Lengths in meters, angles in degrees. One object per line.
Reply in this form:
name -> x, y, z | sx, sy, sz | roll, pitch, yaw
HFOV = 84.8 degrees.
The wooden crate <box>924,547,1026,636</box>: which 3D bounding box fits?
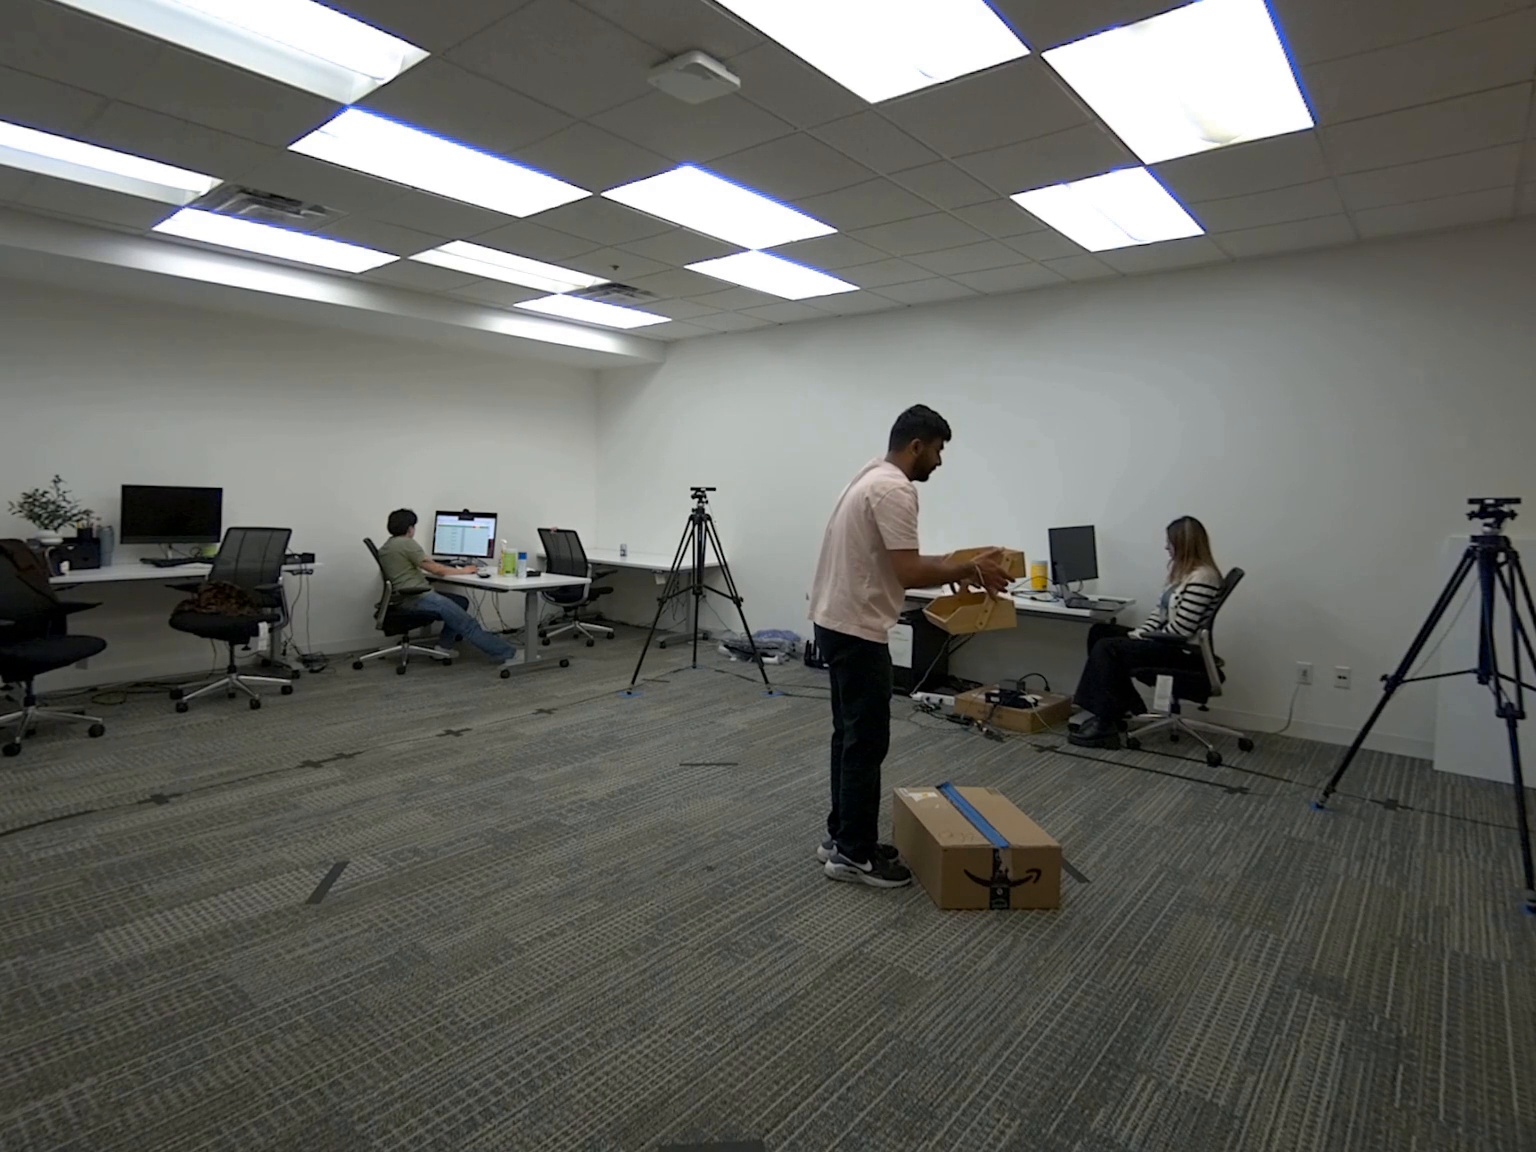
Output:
wooden crate -> 0.732, 0.049, 3.111 | 0.301, 0.272, 0.327 | -5, 5, -3
